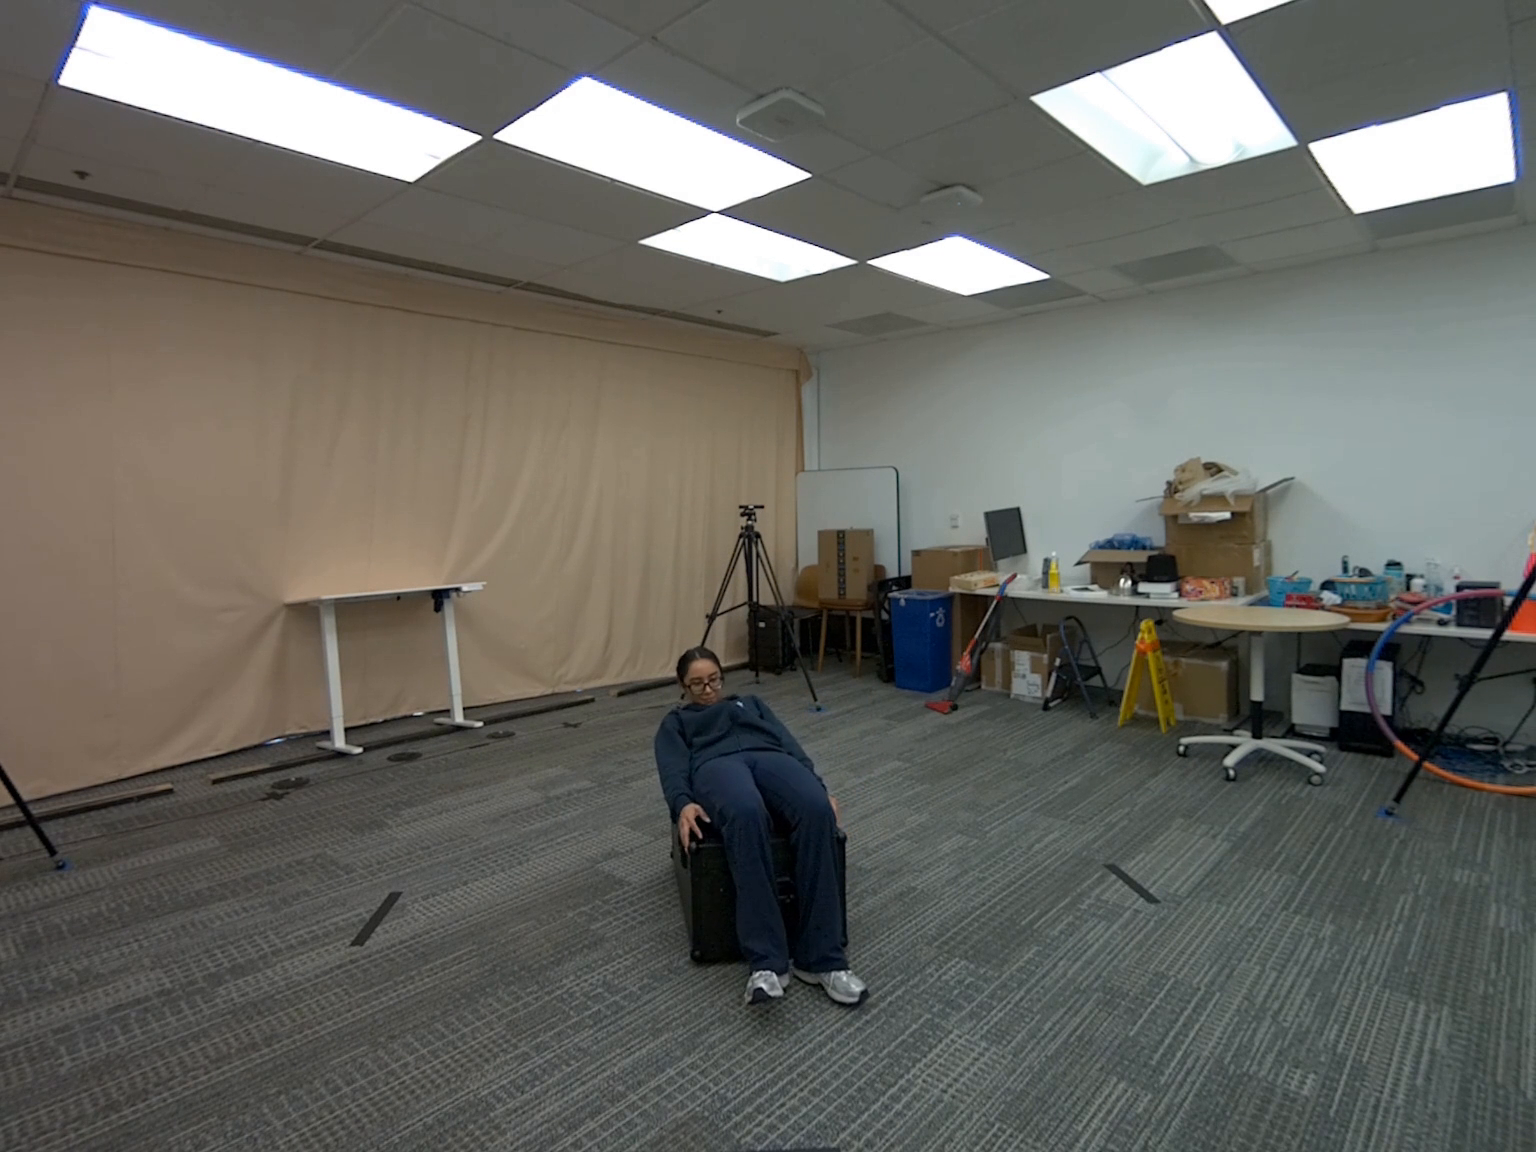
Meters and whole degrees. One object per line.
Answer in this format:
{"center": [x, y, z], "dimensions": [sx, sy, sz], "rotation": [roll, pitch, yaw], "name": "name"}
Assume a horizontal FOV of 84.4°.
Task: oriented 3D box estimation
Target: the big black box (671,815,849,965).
{"center": [-0.074, 0.951, 2.977], "dimensions": [0.516, 0.395, 0.872], "rotation": [-4, 6, -10], "name": "big black box"}
